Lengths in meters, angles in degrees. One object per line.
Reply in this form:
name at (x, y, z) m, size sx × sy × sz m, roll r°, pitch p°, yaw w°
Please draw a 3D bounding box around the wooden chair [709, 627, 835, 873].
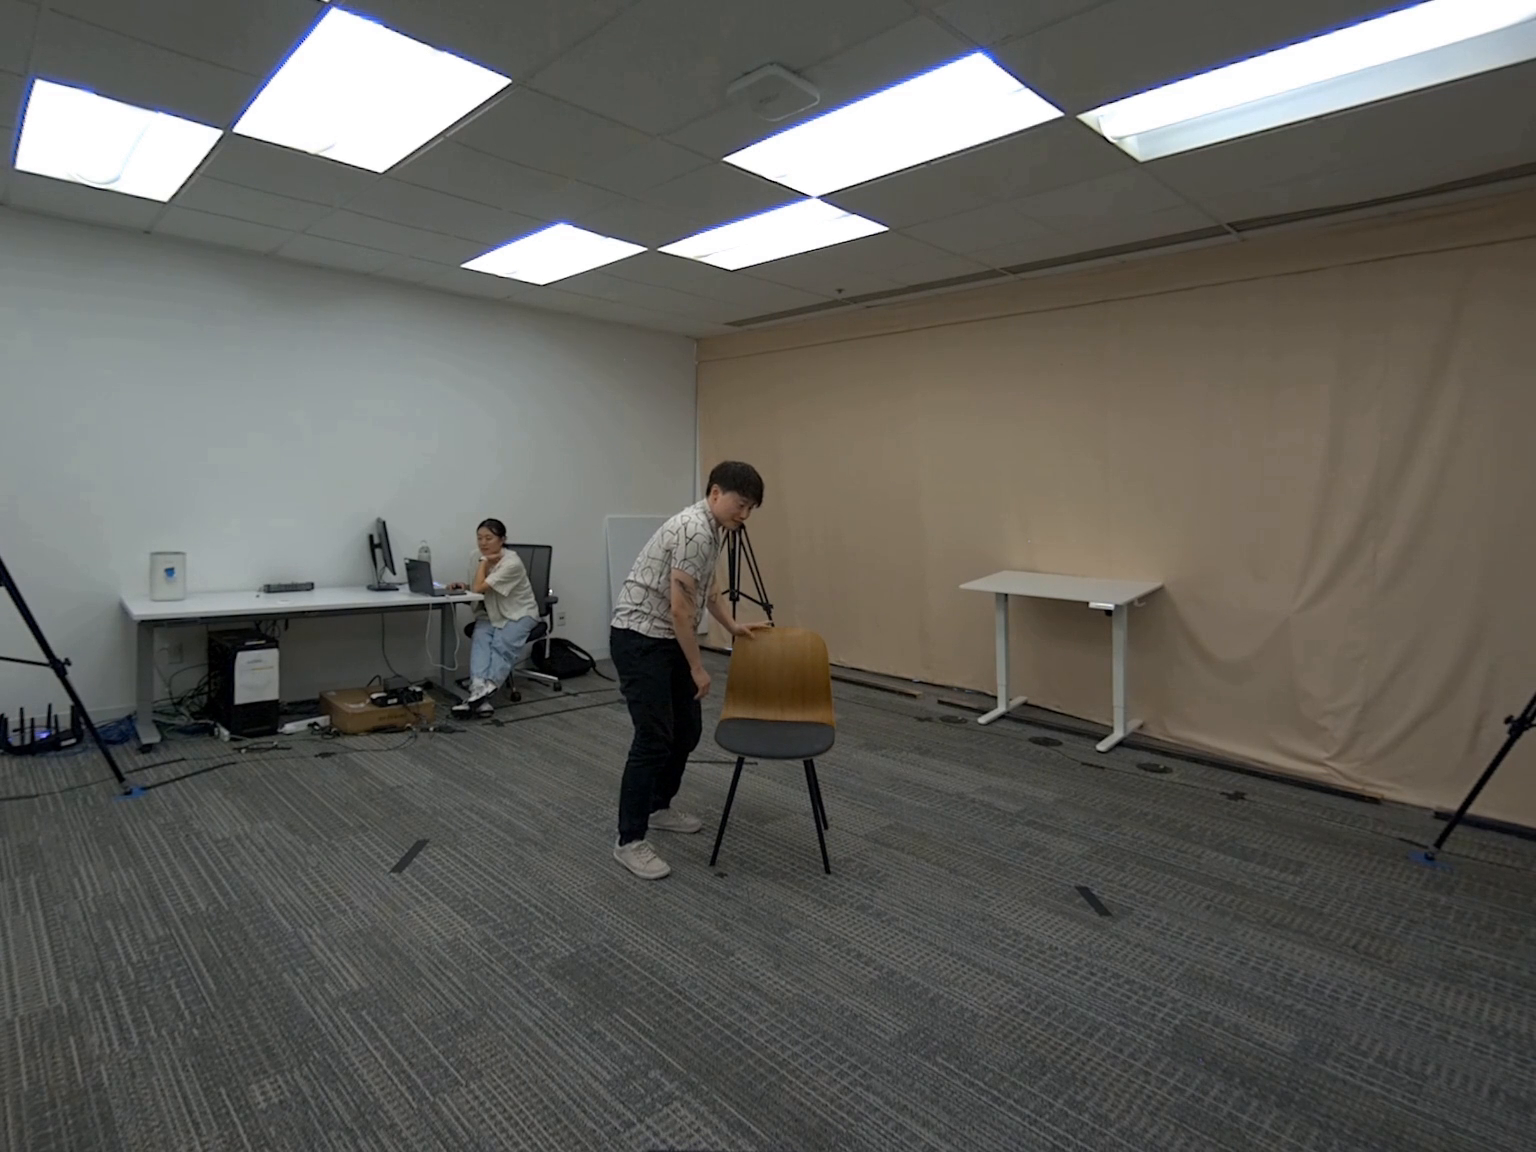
wooden chair at (0.023, 0.659, 3.339) m, size 0.480 × 0.878 × 0.520 m, roll 2°, pitch 0°, yaw 5°
